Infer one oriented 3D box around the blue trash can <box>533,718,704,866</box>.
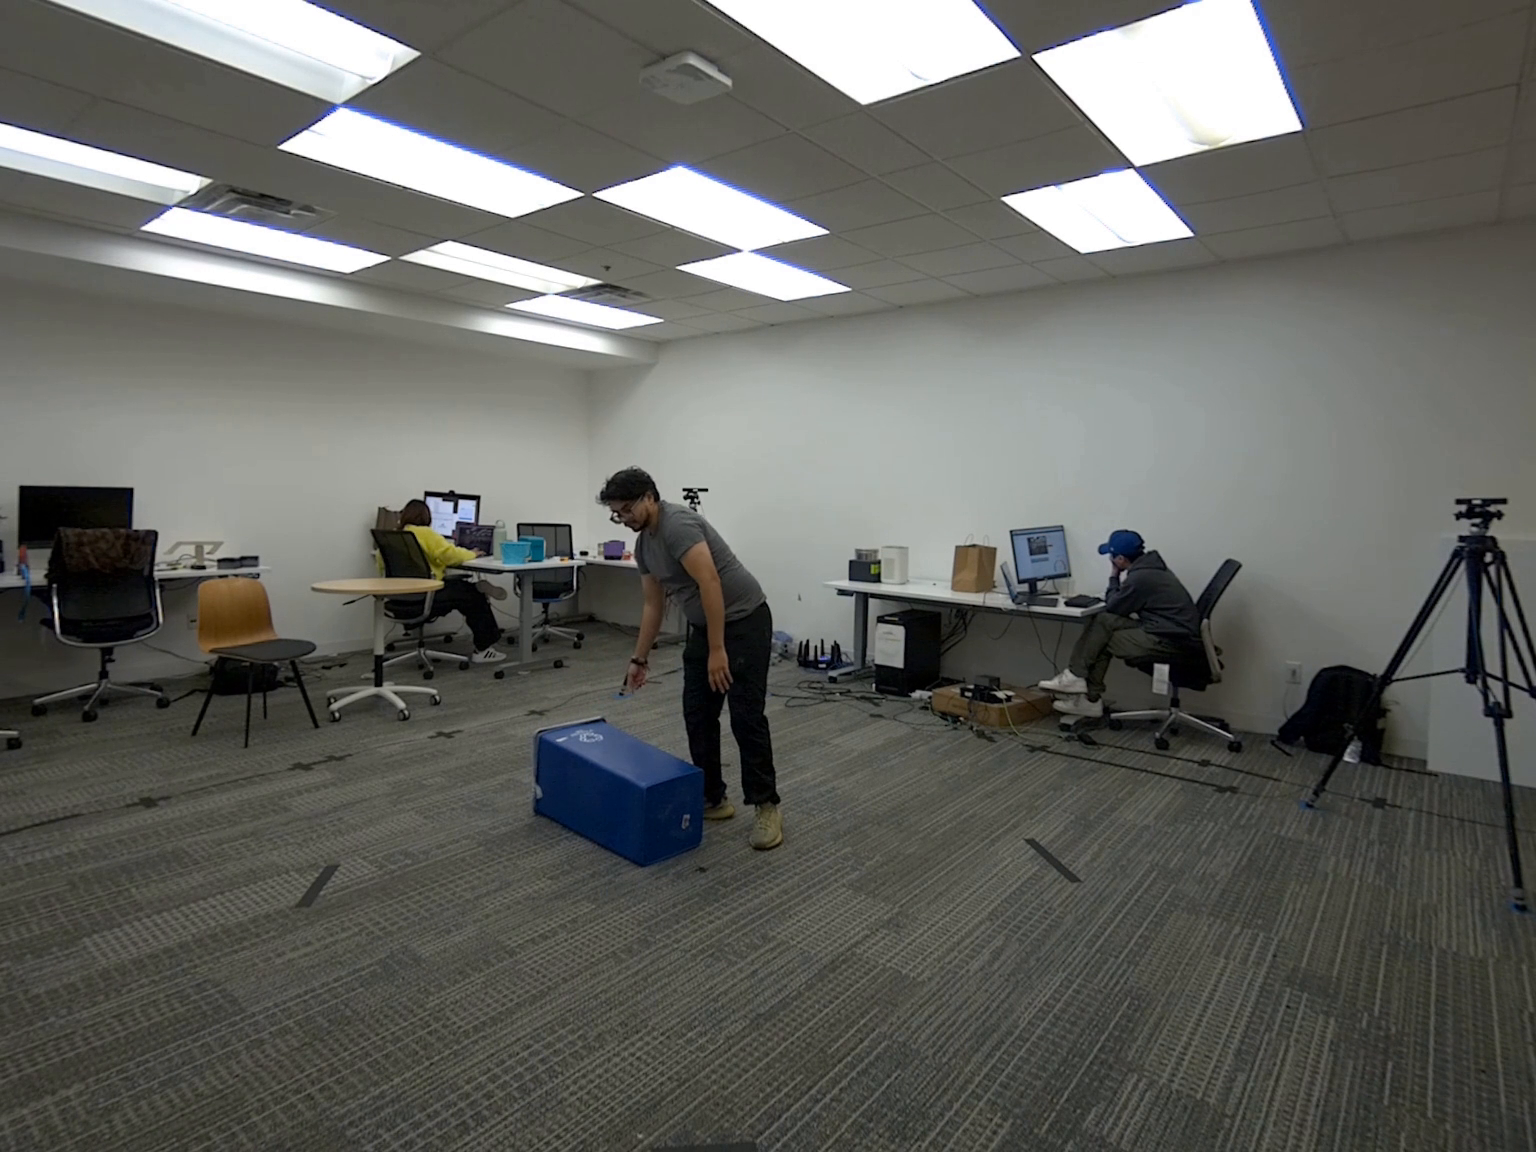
[{"bbox_3d":[-0.625,0.853,3.452,0.739,0.372,0.366,8,8,44],"label":"blue trash can"}]
